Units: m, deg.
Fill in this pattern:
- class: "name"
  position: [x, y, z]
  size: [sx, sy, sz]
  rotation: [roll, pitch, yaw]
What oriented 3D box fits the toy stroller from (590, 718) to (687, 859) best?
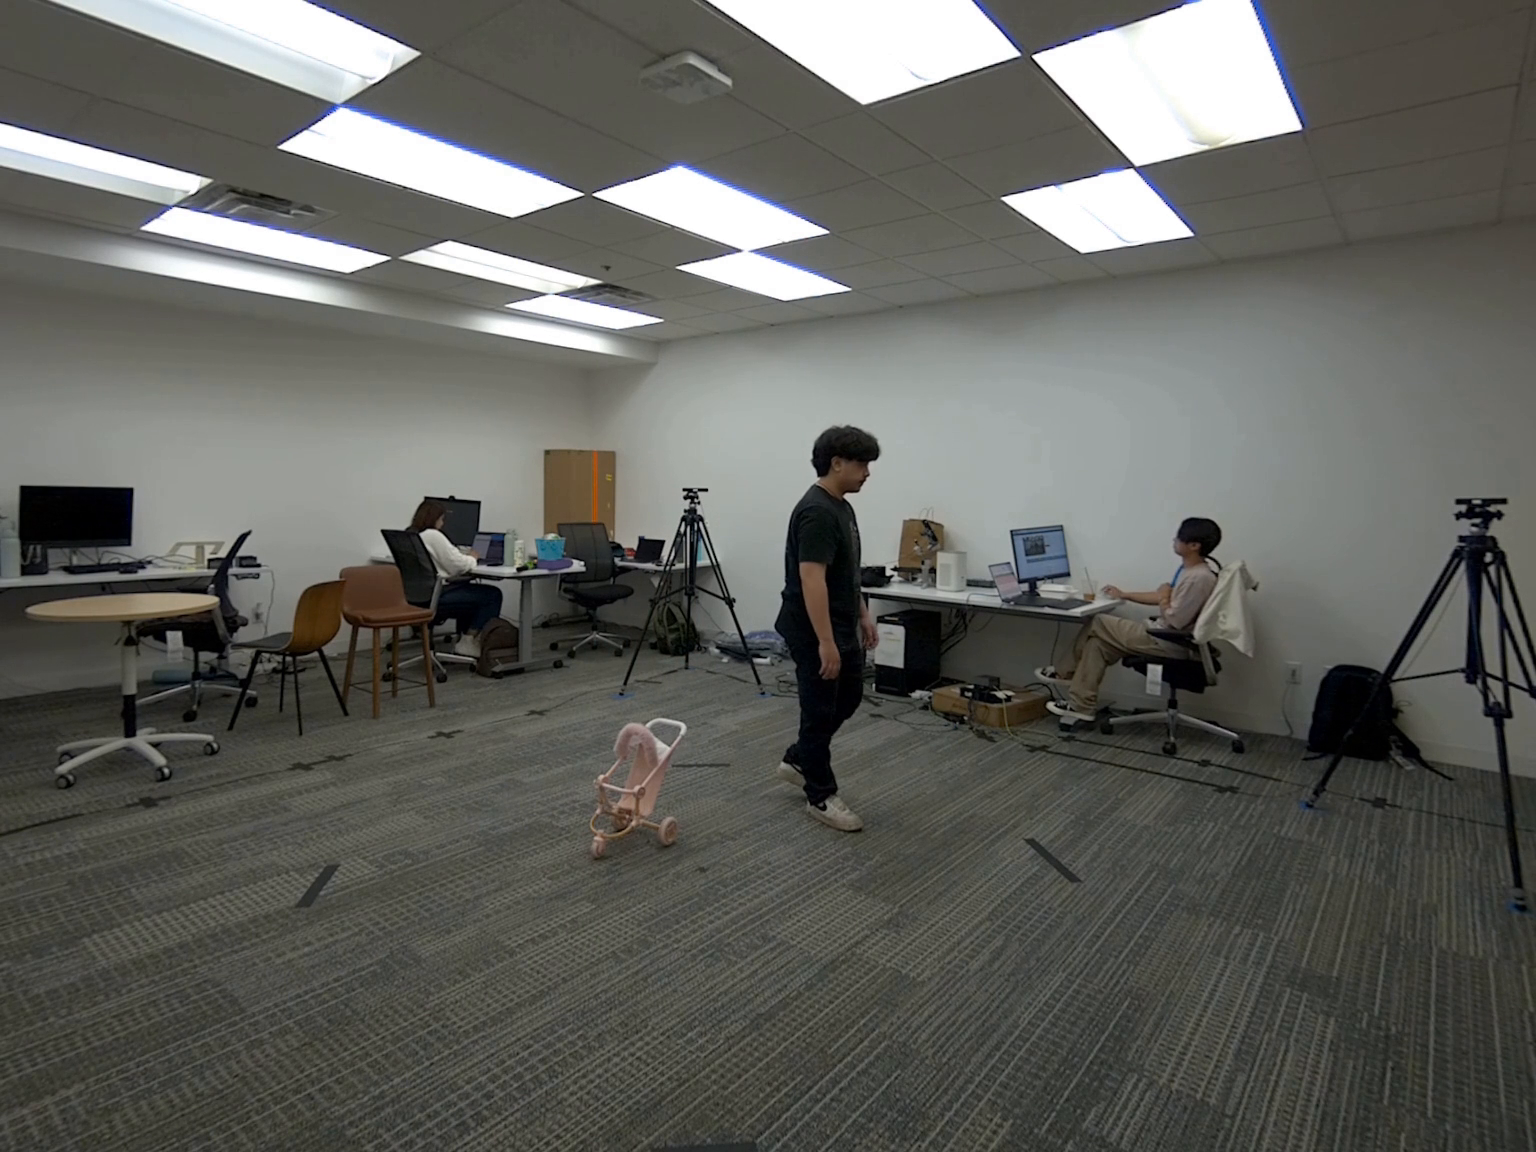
- class: "toy stroller"
  position: [-0.536, 0.815, 3.332]
  size: [0.291, 0.539, 0.328]
  rotation: [3, -11, 39]
